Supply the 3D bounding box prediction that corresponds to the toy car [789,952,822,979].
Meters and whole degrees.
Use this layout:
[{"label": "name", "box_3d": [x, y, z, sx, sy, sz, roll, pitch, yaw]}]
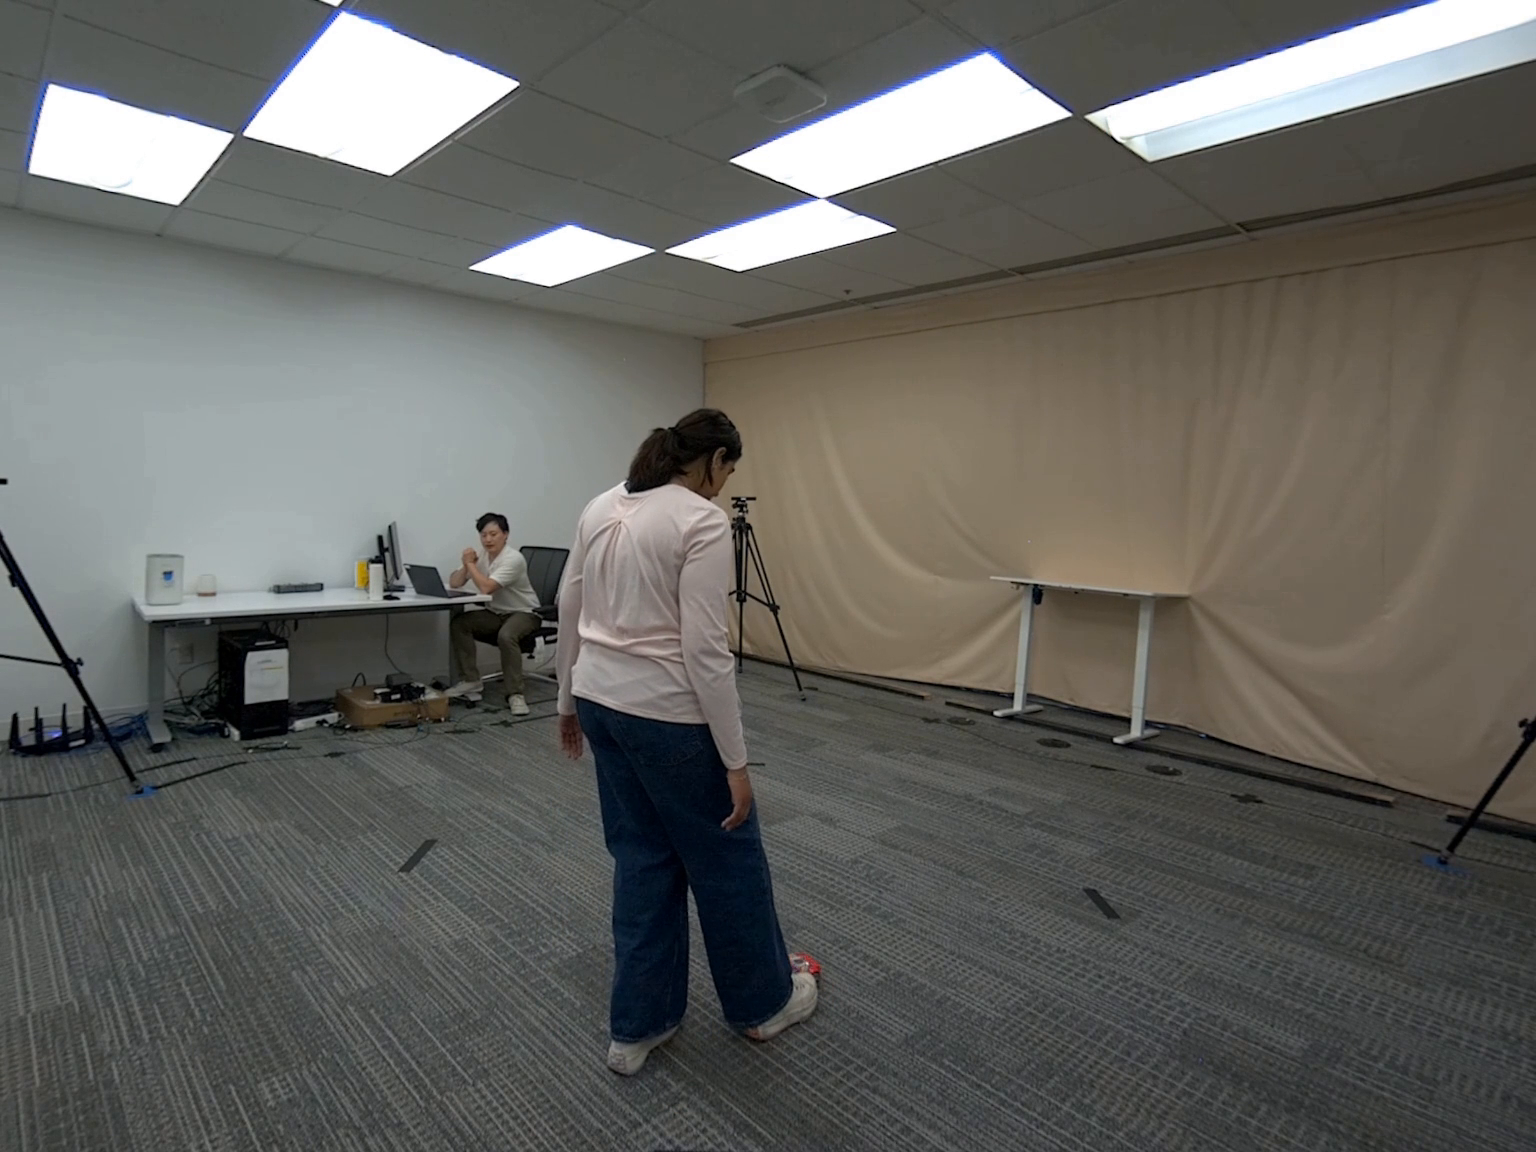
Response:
[{"label": "toy car", "box_3d": [0.022, 1.146, 2.403, 0.249, 0.083, 0.133, 11, 0, -28]}]
